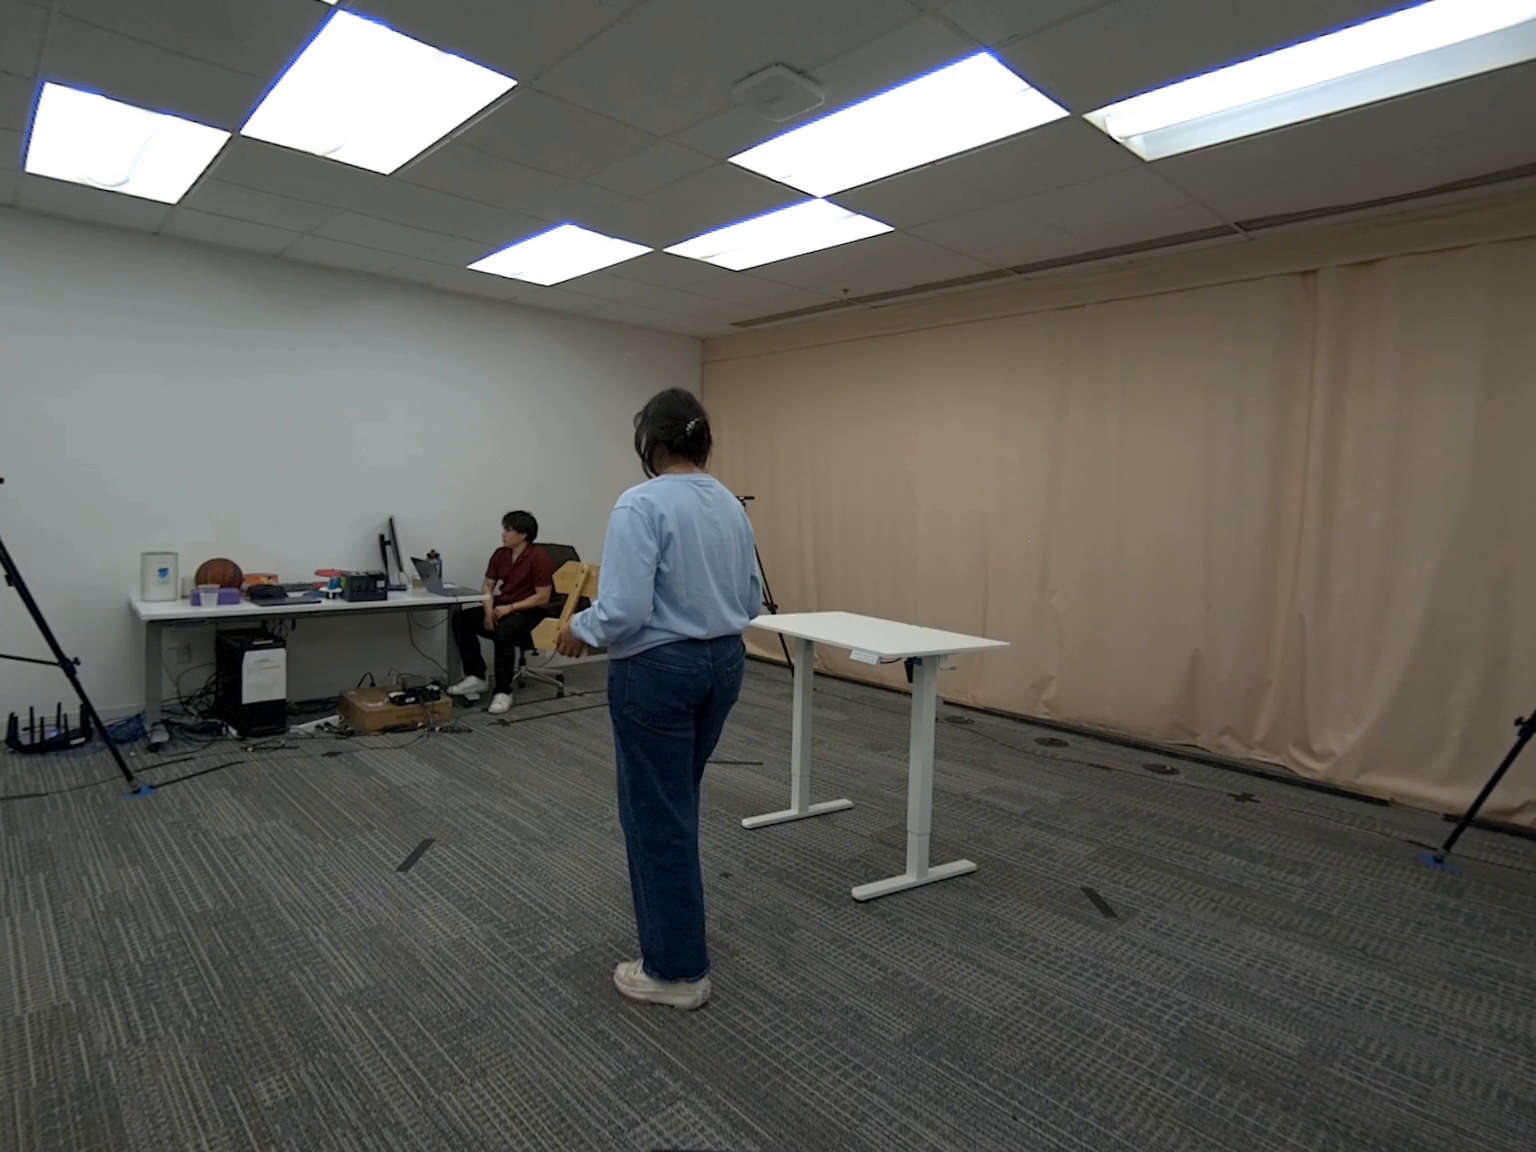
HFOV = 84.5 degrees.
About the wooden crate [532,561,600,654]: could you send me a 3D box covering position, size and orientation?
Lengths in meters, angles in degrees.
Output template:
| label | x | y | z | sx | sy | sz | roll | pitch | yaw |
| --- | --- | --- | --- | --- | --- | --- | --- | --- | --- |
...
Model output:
| label | x | y | z | sx | sy | sz | roll | pitch | yaw |
| --- | --- | --- | --- | --- | --- | --- | --- | --- | --- |
| wooden crate | -0.495 | 0.083 | 2.526 | 0.309 | 0.273 | 0.317 | 5 | 3 | 38 |
